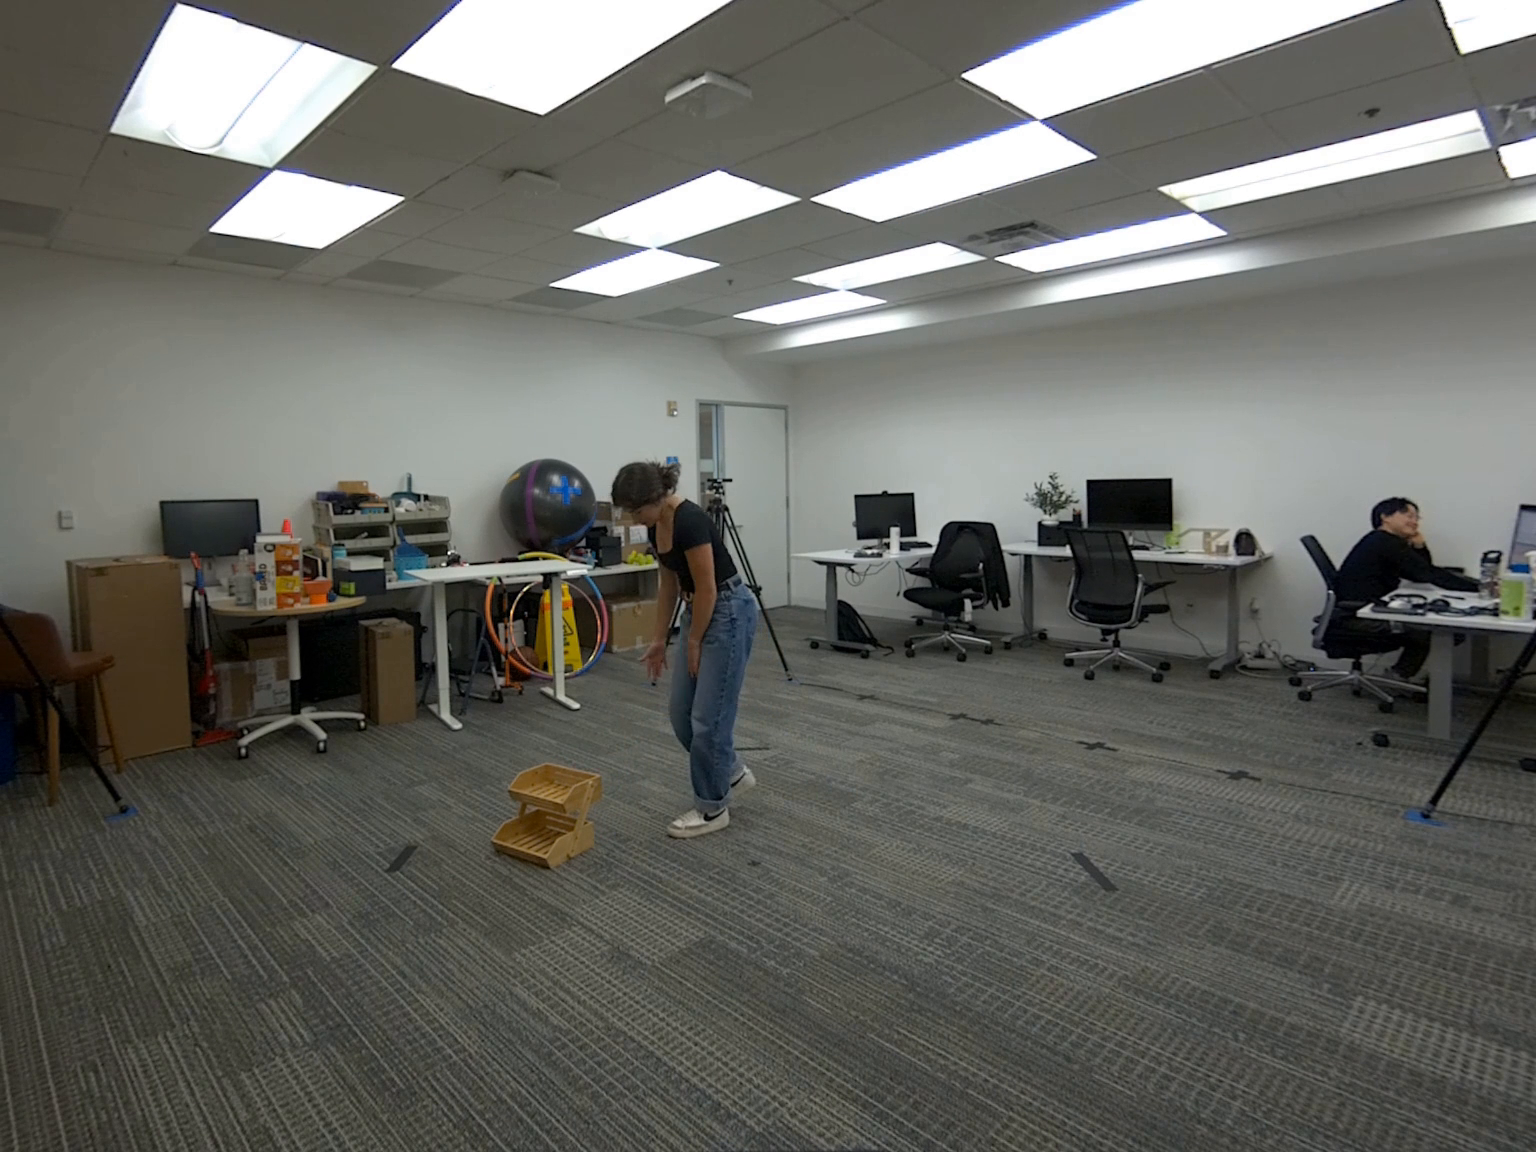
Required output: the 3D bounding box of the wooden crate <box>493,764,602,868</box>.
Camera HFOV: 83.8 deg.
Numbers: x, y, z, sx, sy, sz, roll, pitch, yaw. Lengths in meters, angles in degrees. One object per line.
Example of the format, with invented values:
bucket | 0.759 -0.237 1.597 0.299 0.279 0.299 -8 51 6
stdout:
wooden crate | -0.849 0.907 3.276 0.333 0.272 0.295 2 5 33
